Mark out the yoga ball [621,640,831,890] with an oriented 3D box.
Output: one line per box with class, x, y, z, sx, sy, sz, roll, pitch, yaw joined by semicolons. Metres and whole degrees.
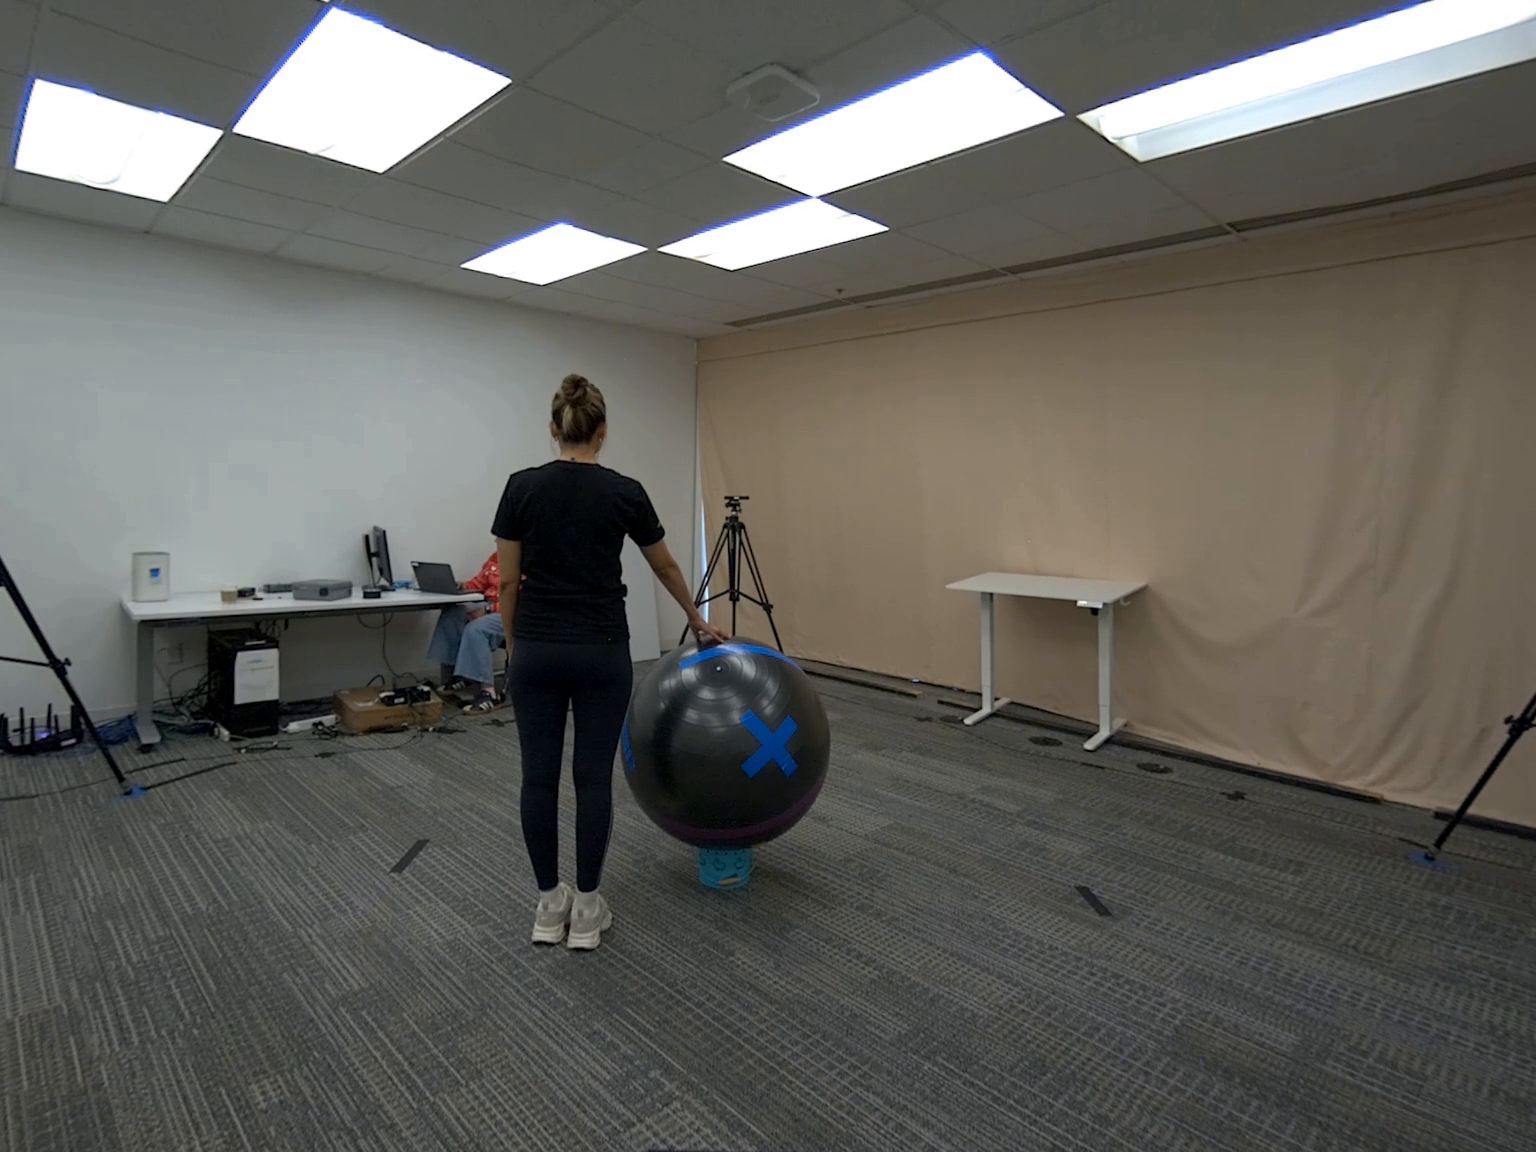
yoga ball;-0.158;0.604;3.046;0.757;0.756;0.761;1;4;-1
